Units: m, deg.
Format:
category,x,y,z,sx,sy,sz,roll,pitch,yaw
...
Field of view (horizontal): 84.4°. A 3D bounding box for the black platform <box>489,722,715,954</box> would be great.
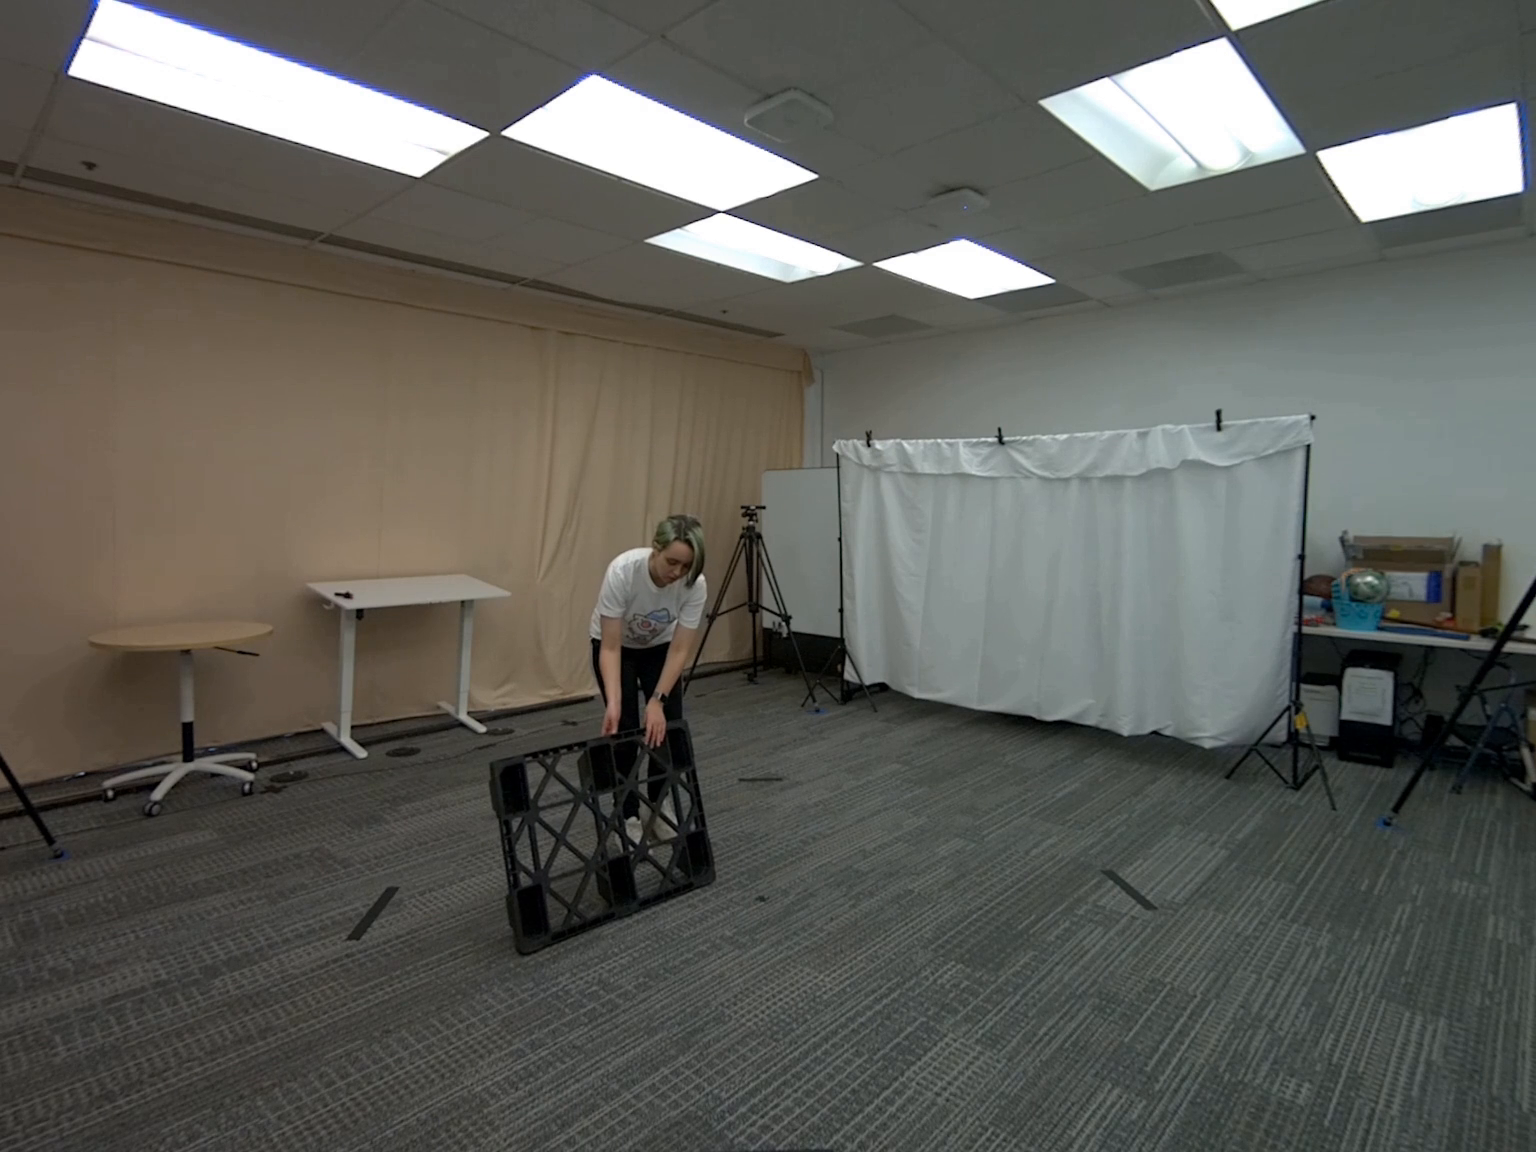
category,x,y,z,sx,sy,sz,roll,pitch,yaw
black platform,-0.565,0.874,2.954,0.781,0.610,0.147,-4,-12,-42
